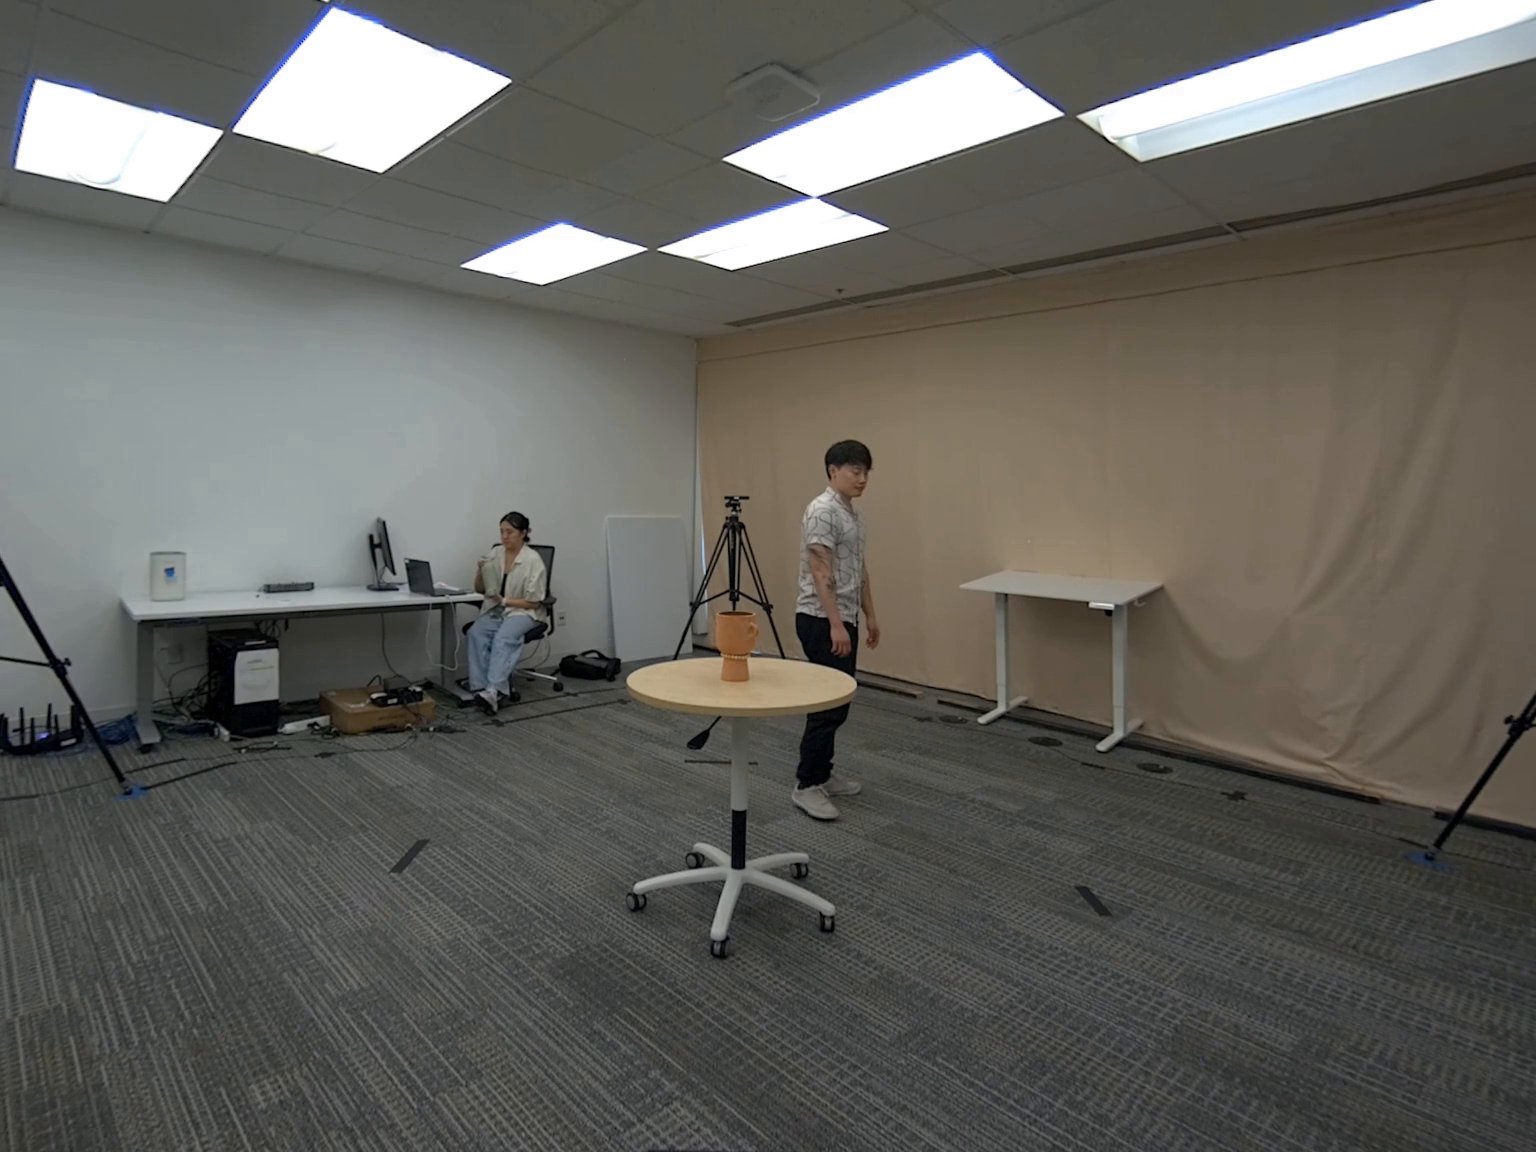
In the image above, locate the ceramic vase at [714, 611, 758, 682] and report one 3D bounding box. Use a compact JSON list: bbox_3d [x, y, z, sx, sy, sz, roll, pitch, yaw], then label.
[{"bbox_3d":[-0.114,0.240,2.813,0.133,0.219,0.161,1,6,-10],"label":"ceramic vase"}]
